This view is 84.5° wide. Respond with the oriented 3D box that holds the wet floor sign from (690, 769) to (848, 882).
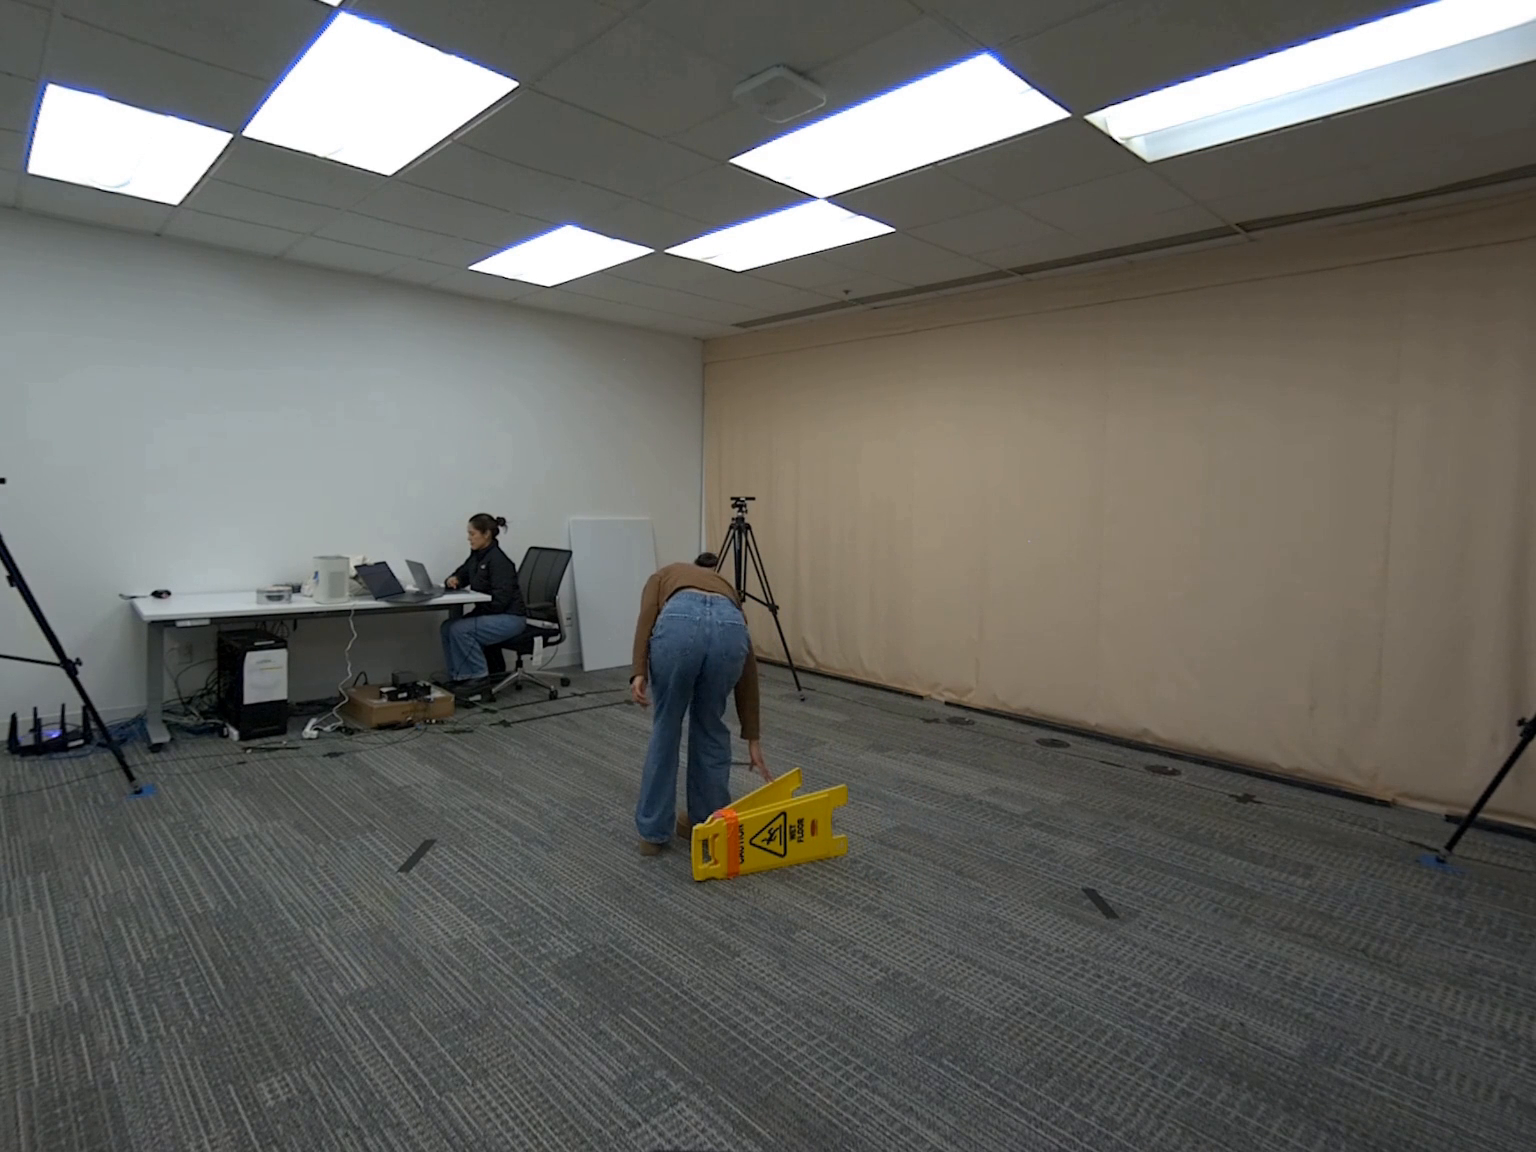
[{"bbox_3d":[-0.024,0.972,3.222,0.632,0.281,0.297,-6,8,-39],"label":"wet floor sign"}]
